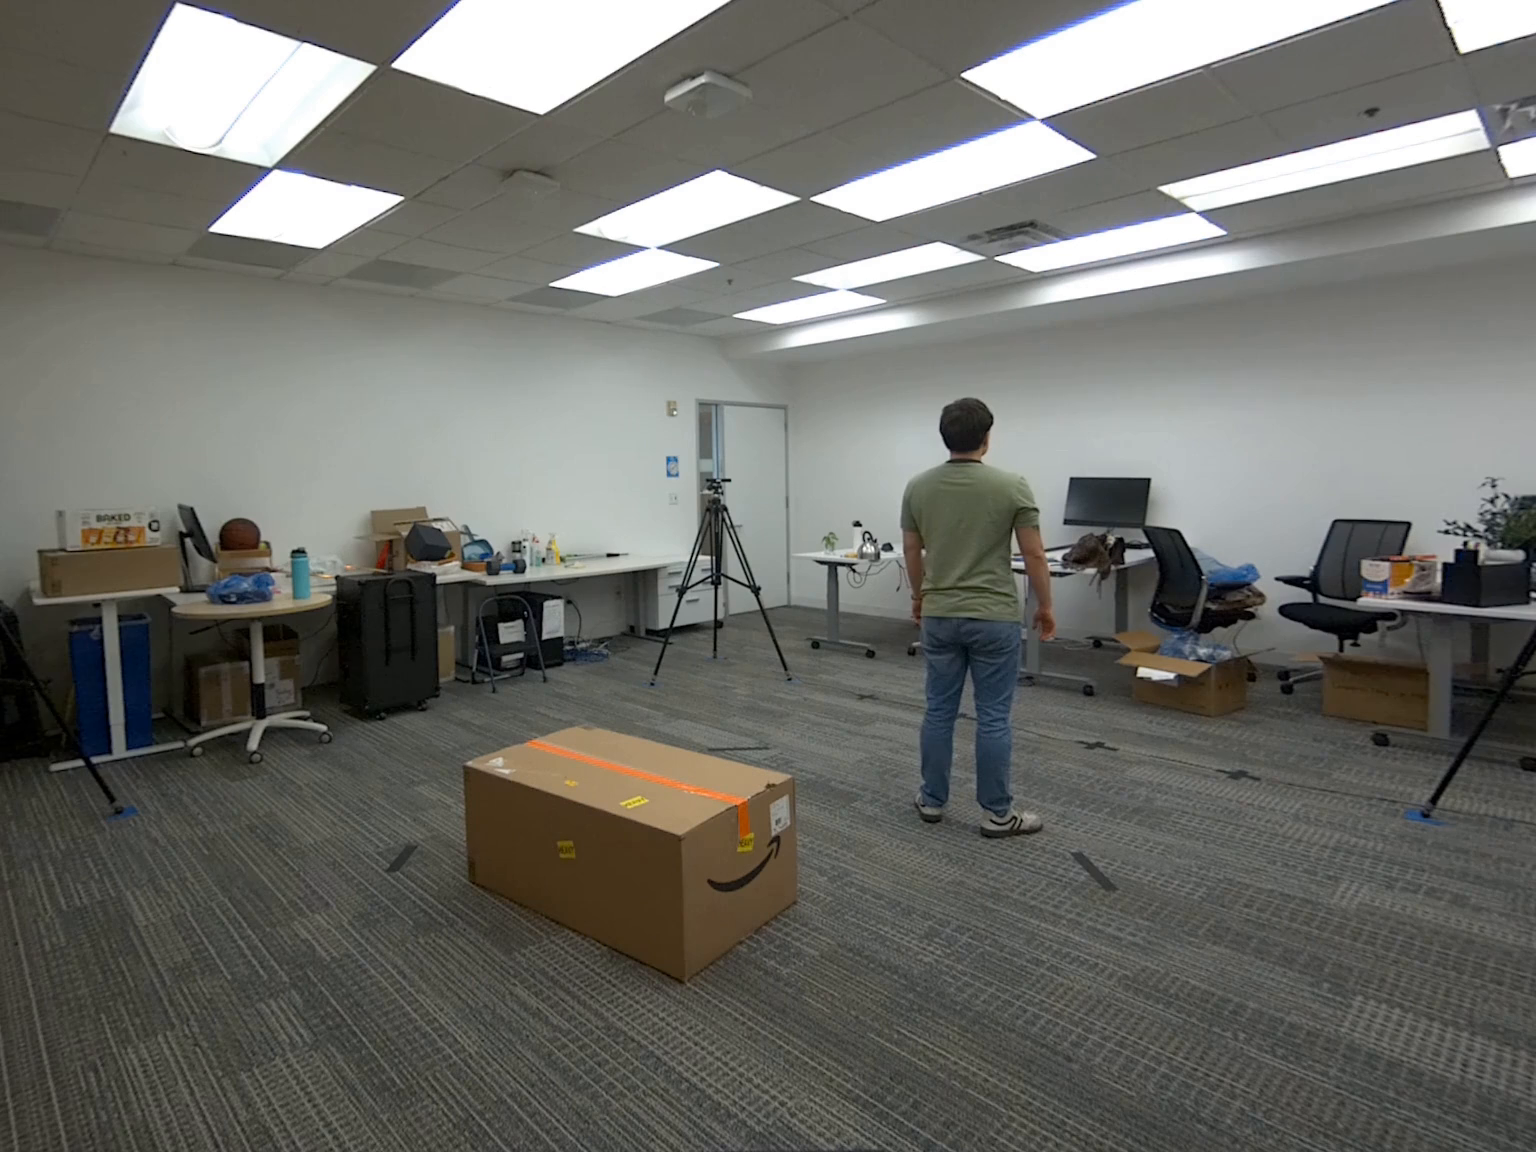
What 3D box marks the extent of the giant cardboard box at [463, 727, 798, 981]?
[{"bbox_3d":[-0.481,0.862,2.905,1.056,0.424,0.563,4,8,38],"label":"giant cardboard box"}]
